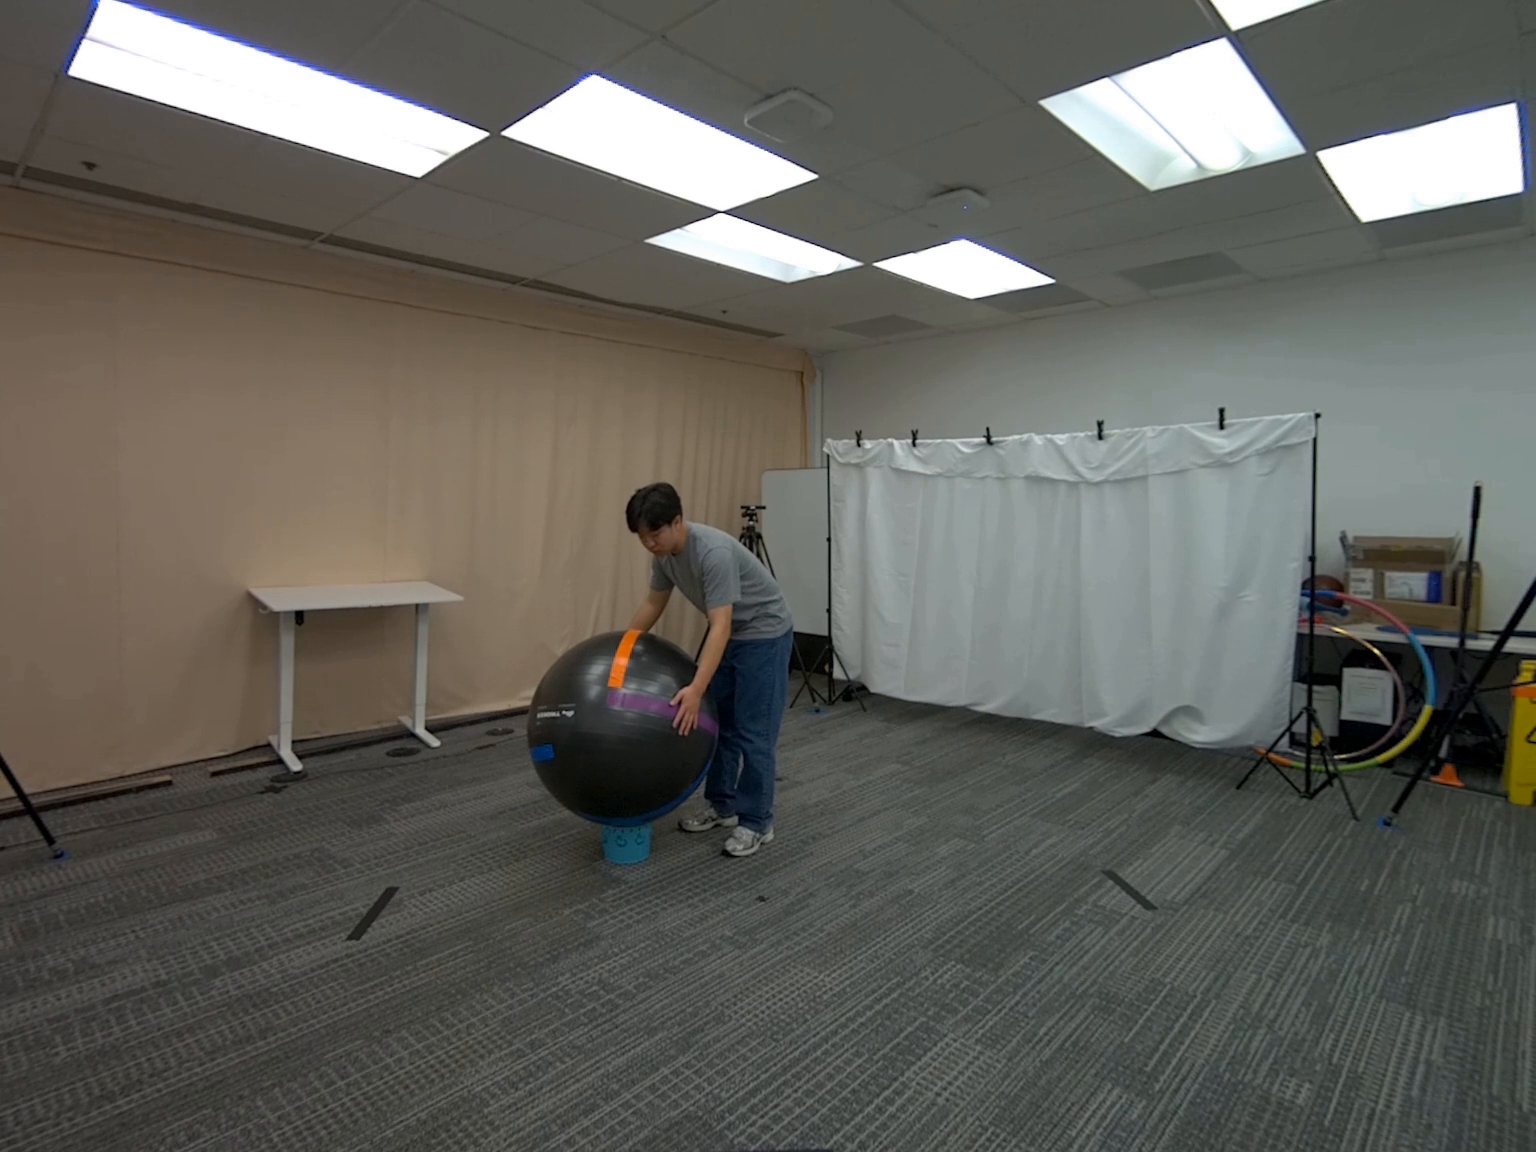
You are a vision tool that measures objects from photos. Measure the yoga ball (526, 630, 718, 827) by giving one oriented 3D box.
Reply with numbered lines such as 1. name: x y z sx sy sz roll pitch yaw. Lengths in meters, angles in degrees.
1. yoga ball: -0.594 0.601 3.357 0.757 0.756 0.761 0 4 -2
